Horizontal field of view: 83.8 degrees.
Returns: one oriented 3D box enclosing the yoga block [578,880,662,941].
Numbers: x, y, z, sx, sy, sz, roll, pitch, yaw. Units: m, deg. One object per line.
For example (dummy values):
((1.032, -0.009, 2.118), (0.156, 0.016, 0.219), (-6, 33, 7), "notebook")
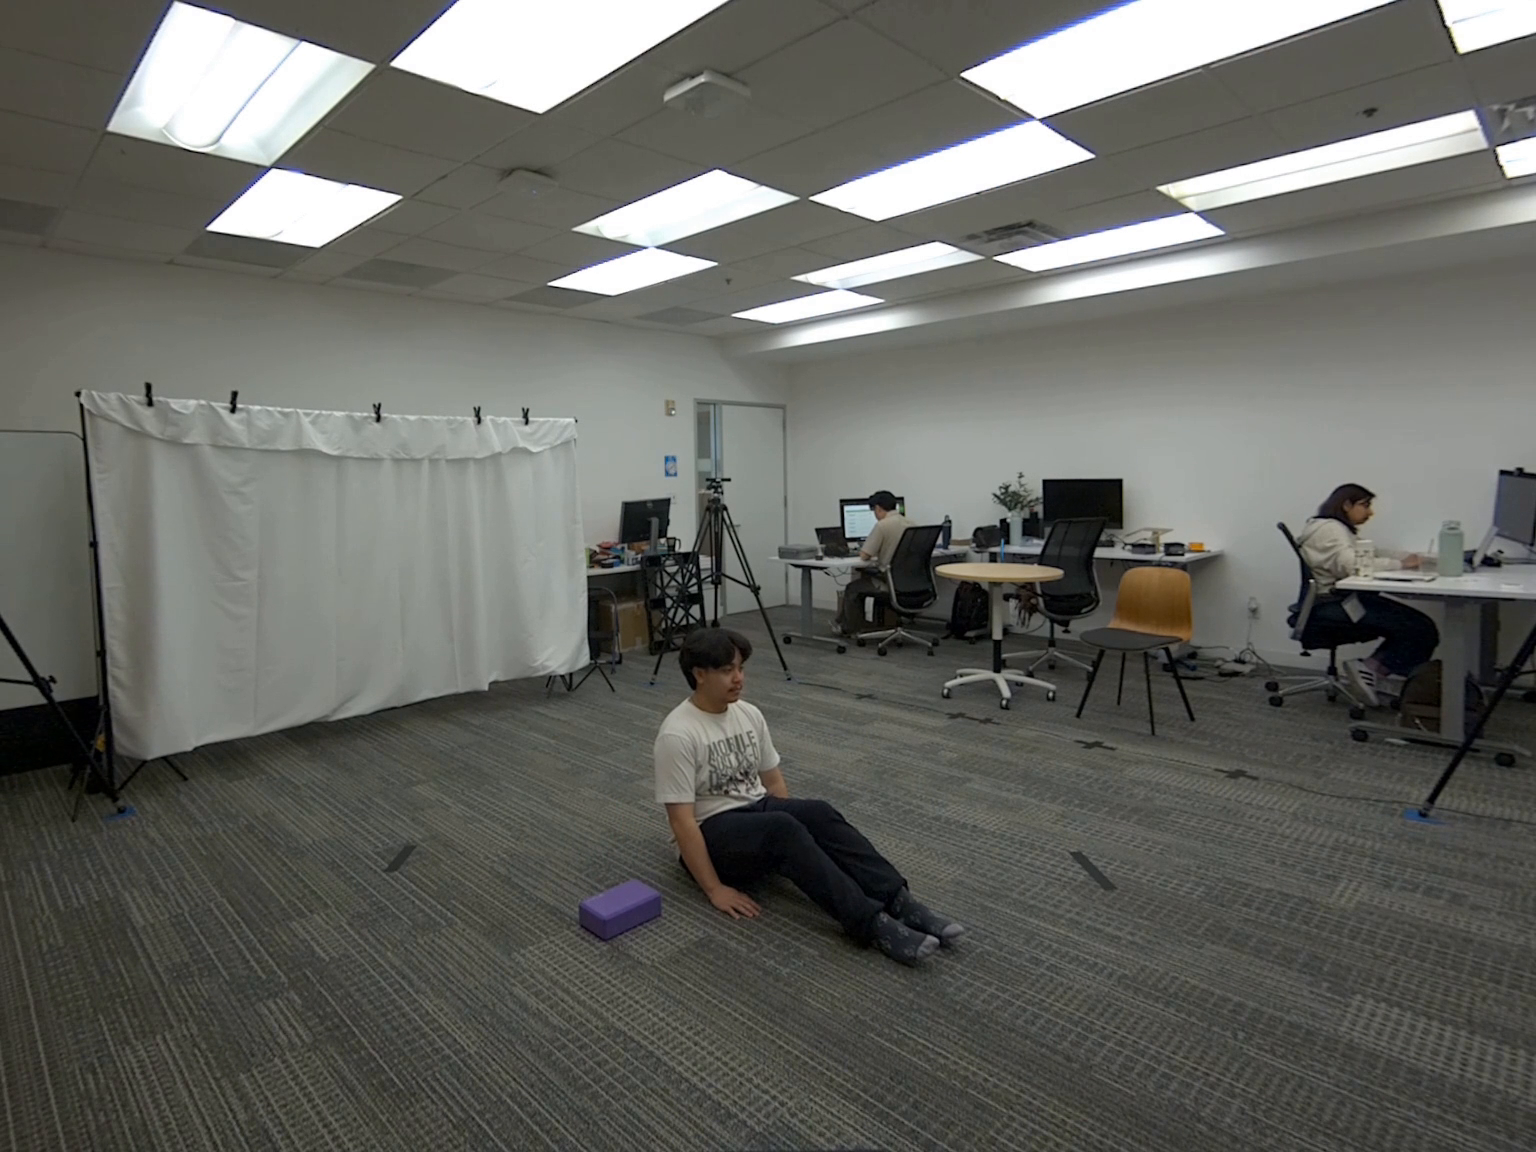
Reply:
((-0.461, 1.055, 2.716), (0.154, 0.076, 0.223), (6, 10, 43), "yoga block")
